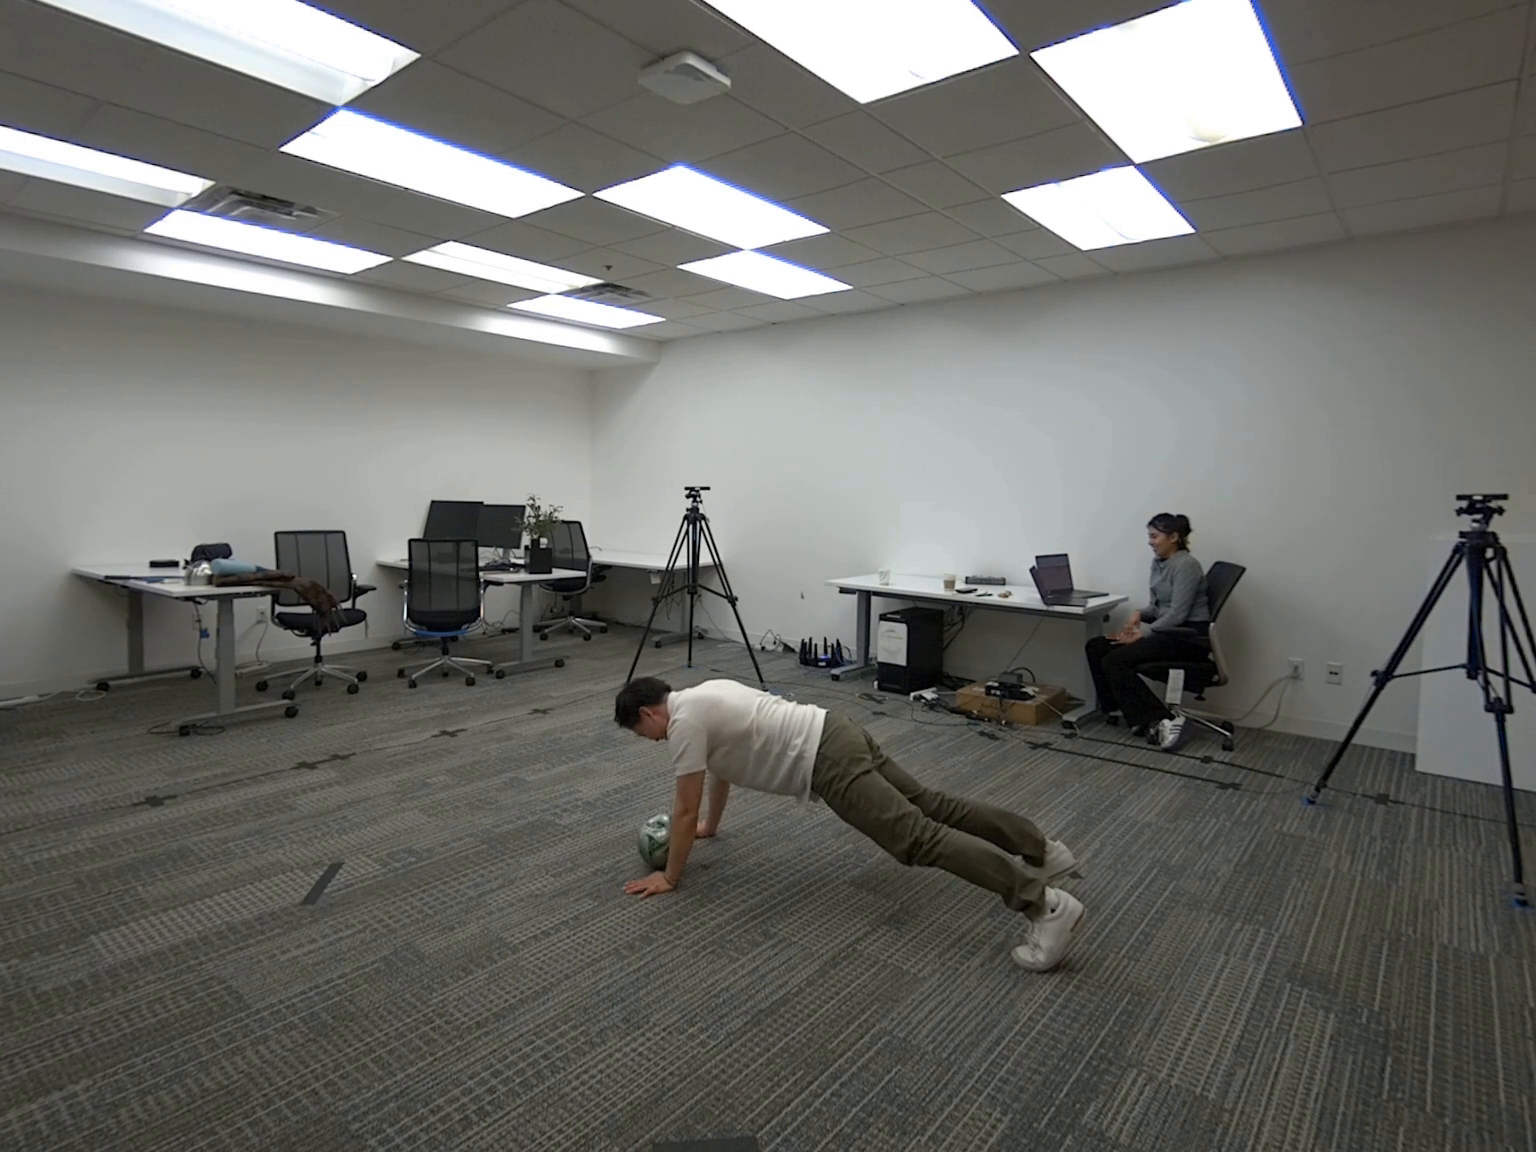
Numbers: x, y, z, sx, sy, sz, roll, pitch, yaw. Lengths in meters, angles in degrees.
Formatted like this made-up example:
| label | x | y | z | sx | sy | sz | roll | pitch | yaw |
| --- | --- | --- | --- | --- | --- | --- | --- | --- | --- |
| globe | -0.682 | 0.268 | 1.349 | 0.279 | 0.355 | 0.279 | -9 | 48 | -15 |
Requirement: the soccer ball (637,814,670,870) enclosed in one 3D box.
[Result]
| label | x | y | z | sx | sy | sz | roll | pitch | yaw |
| --- | --- | --- | --- | --- | --- | --- | --- | --- | --- |
| soccer ball | -0.394 | 0.970 | 3.123 | 0.187 | 0.187 | 0.188 | 1 | 4 | -2 |
